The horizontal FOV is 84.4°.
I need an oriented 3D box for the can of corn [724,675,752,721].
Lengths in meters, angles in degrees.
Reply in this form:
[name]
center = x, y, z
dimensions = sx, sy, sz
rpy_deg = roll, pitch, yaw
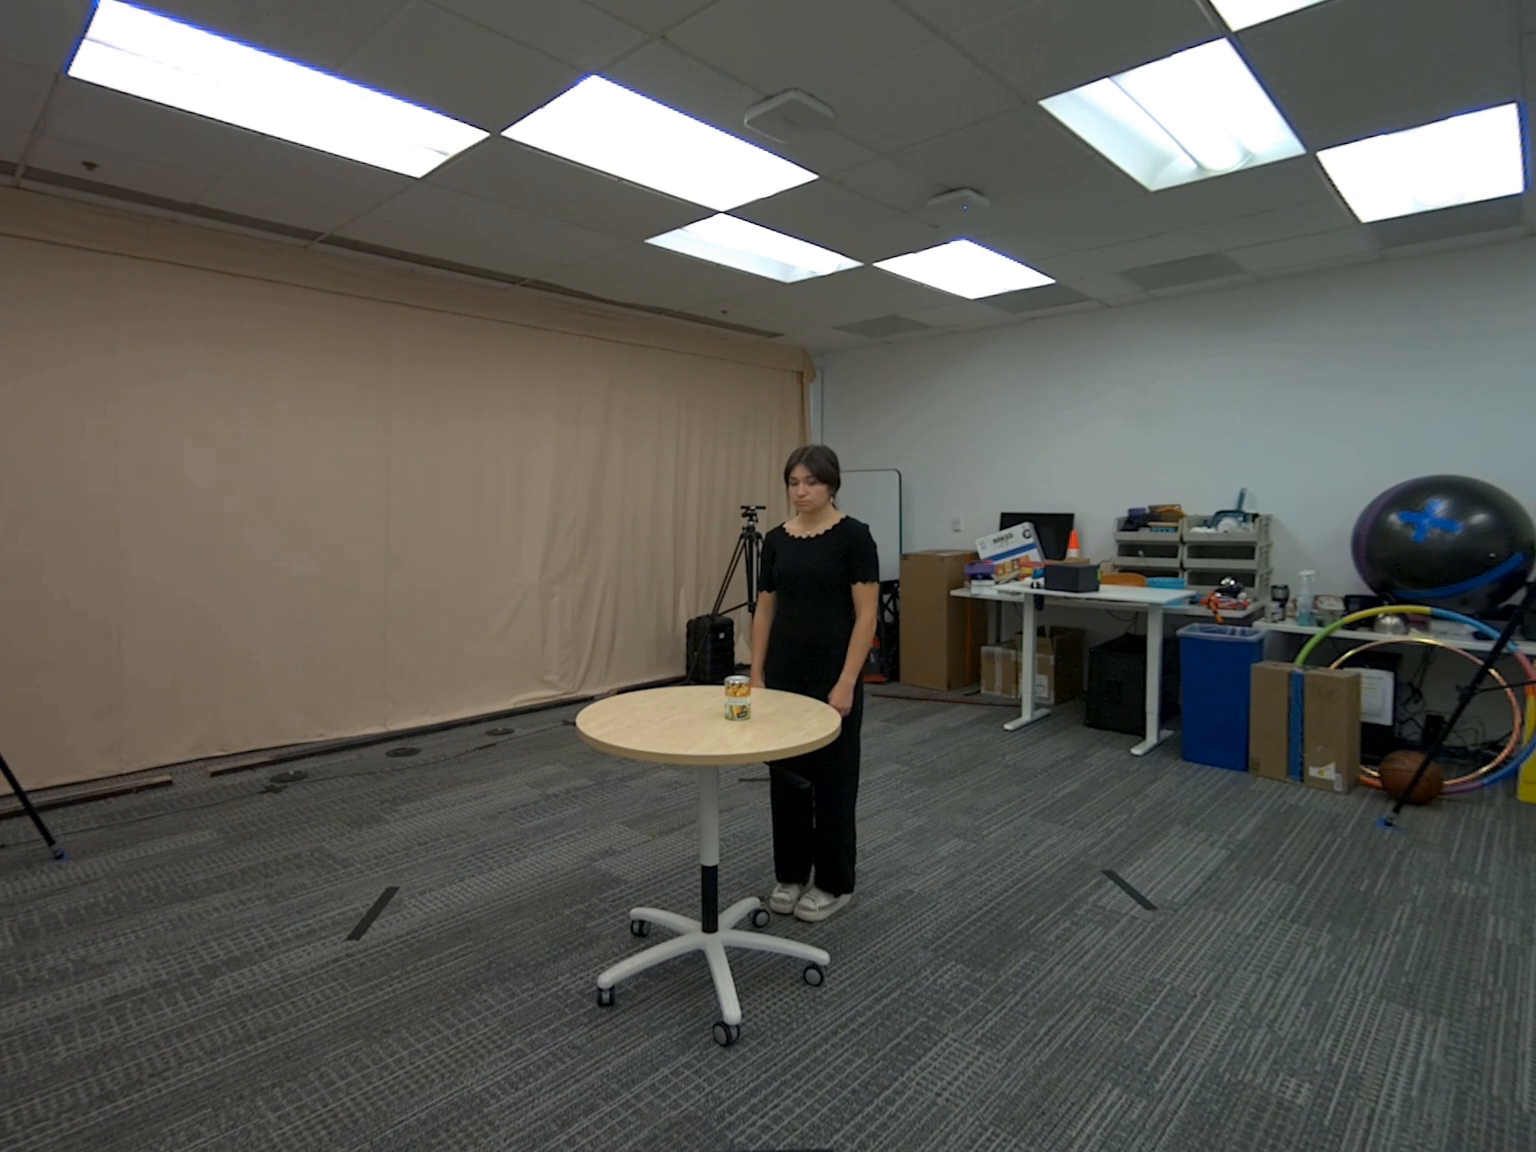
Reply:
[can of corn]
center = -0.084, 0.356, 2.407
dimensions = 0.074, 0.111, 0.074
rpy_deg = -3, 5, -2
